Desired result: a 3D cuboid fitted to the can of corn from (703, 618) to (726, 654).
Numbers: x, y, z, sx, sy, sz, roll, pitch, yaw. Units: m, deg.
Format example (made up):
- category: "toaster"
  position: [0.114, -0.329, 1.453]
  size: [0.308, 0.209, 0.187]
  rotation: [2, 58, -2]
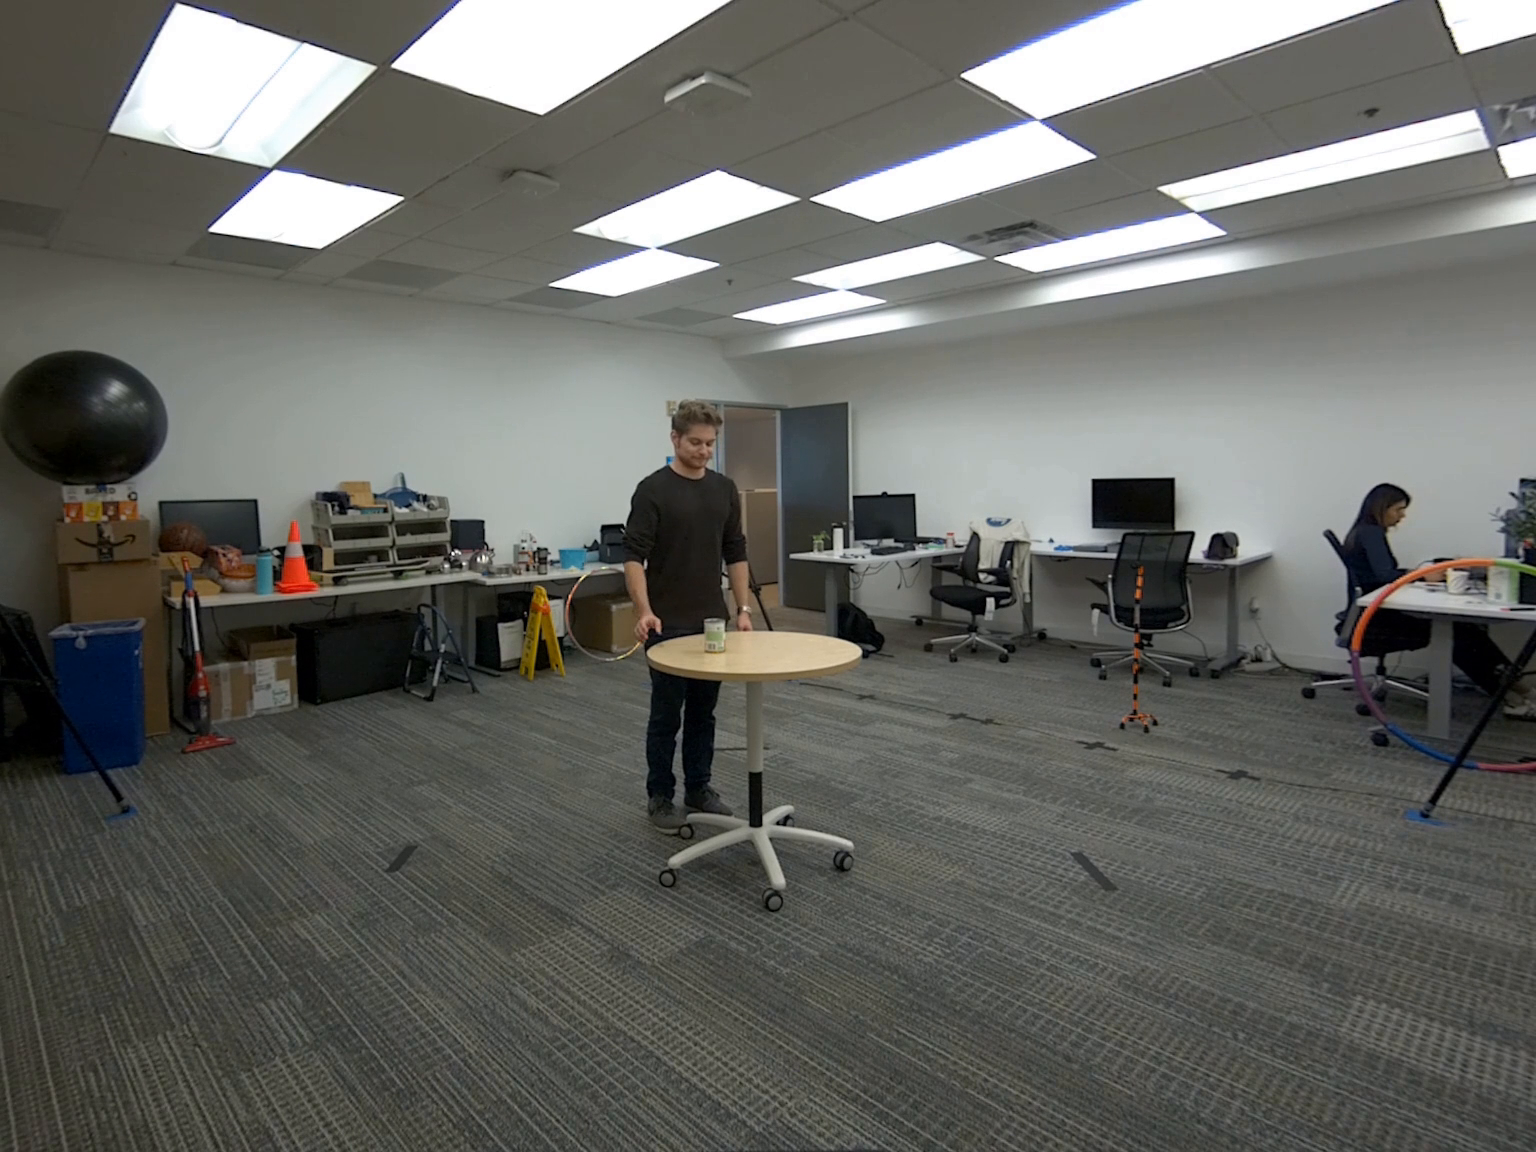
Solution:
- category: "can of corn"
  position: [-0.187, 0.216, 3.032]
  size: [0.074, 0.110, 0.074]
  rotation: [-1, 5, -2]
